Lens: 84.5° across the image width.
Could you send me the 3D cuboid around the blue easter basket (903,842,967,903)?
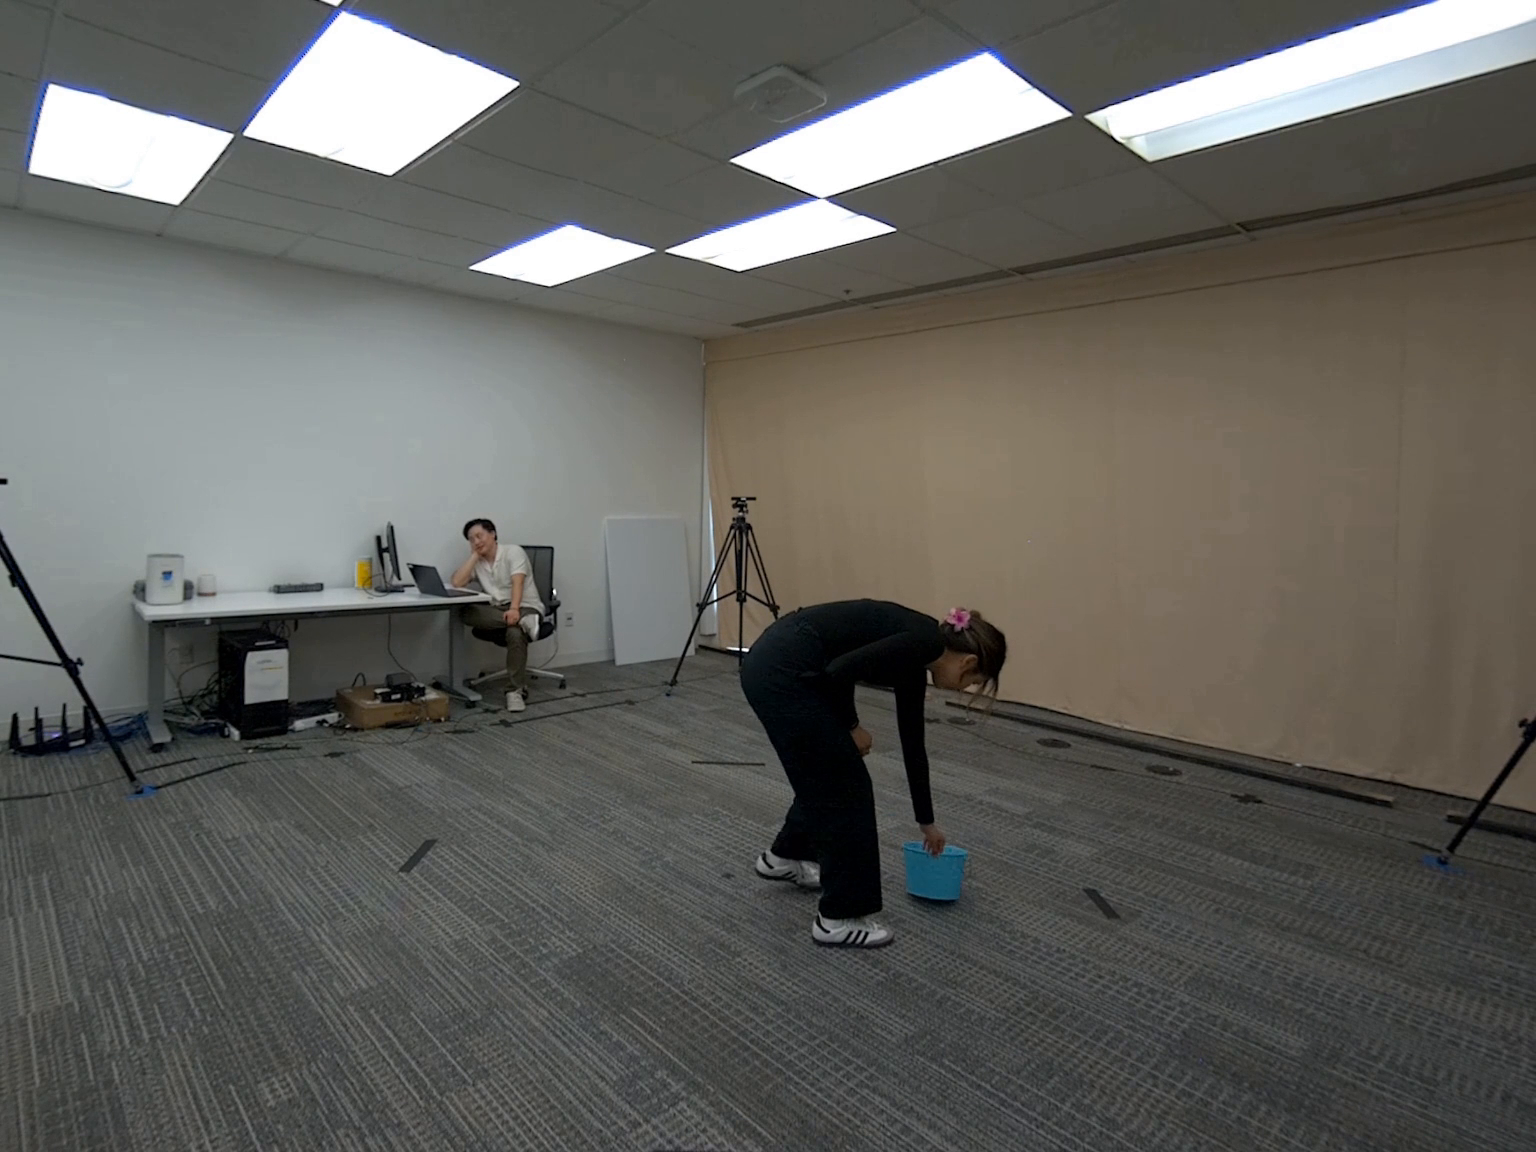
[{"bbox_3d":[0.587,1.041,2.977,0.243,0.157,0.242,5,-8,-1],"label":"blue easter basket"}]
